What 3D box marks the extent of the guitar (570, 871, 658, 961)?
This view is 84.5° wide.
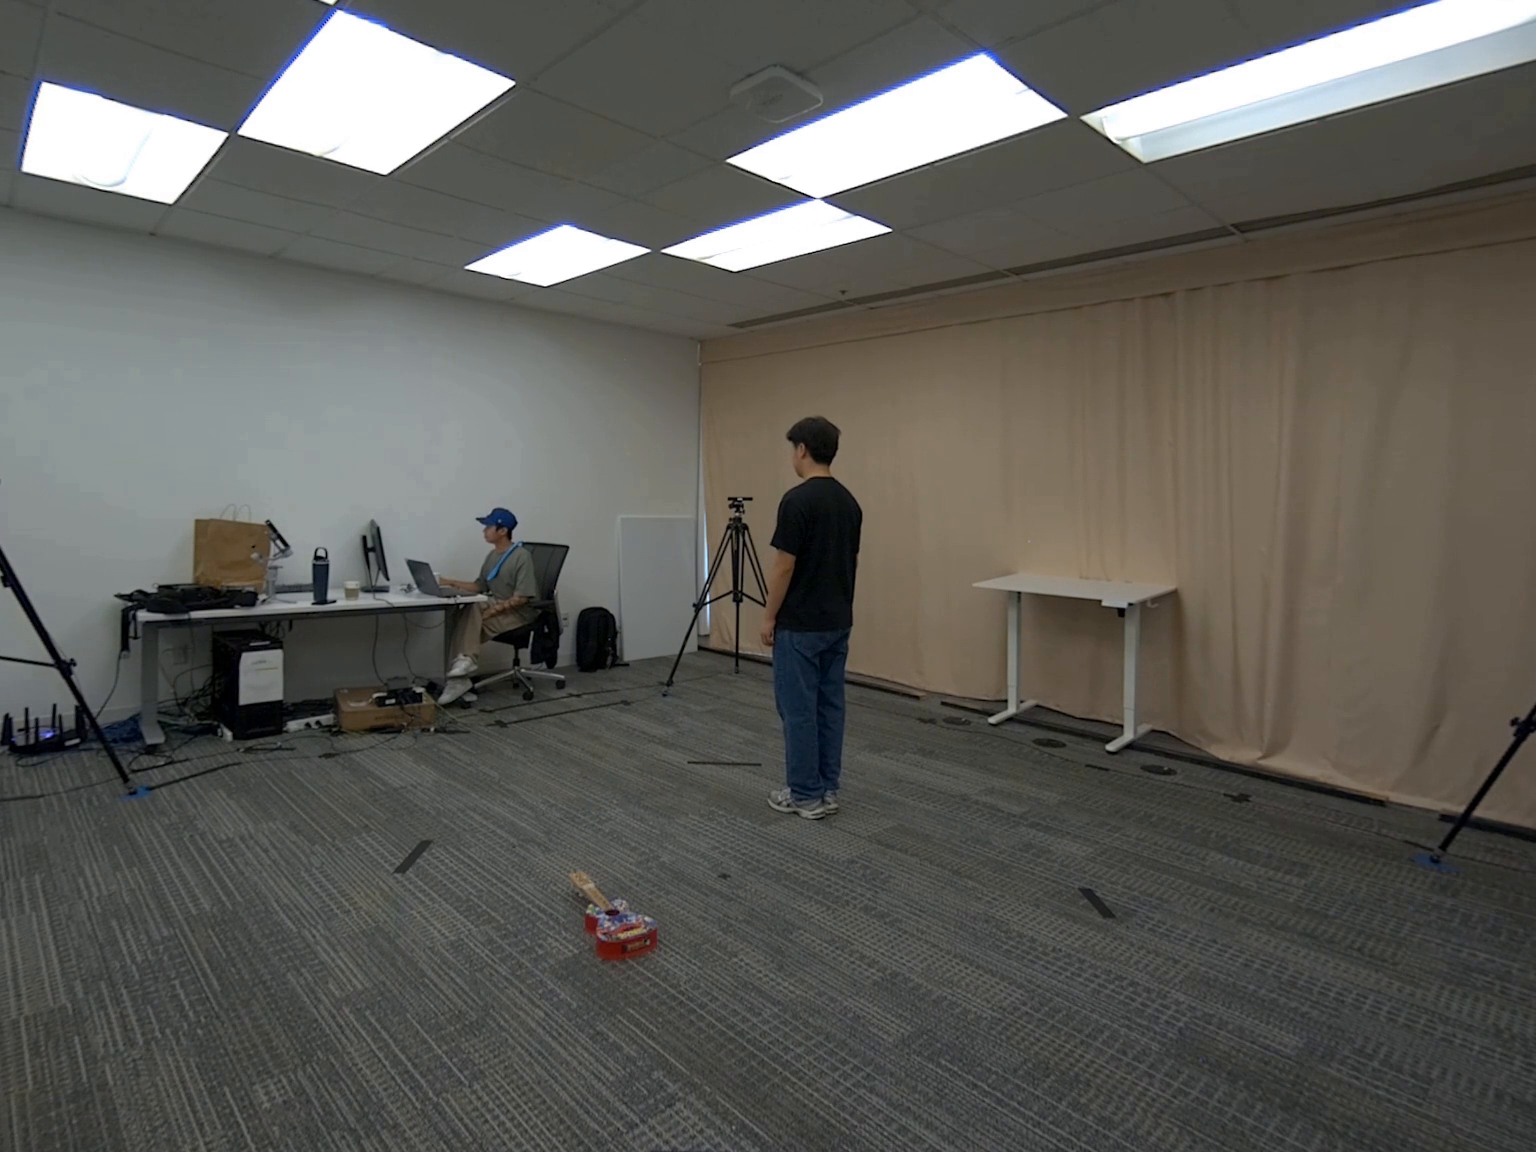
[{"bbox_3d":[-0.523,1.098,2.761,0.190,0.070,0.508,-2,7,-25],"label":"guitar"}]
